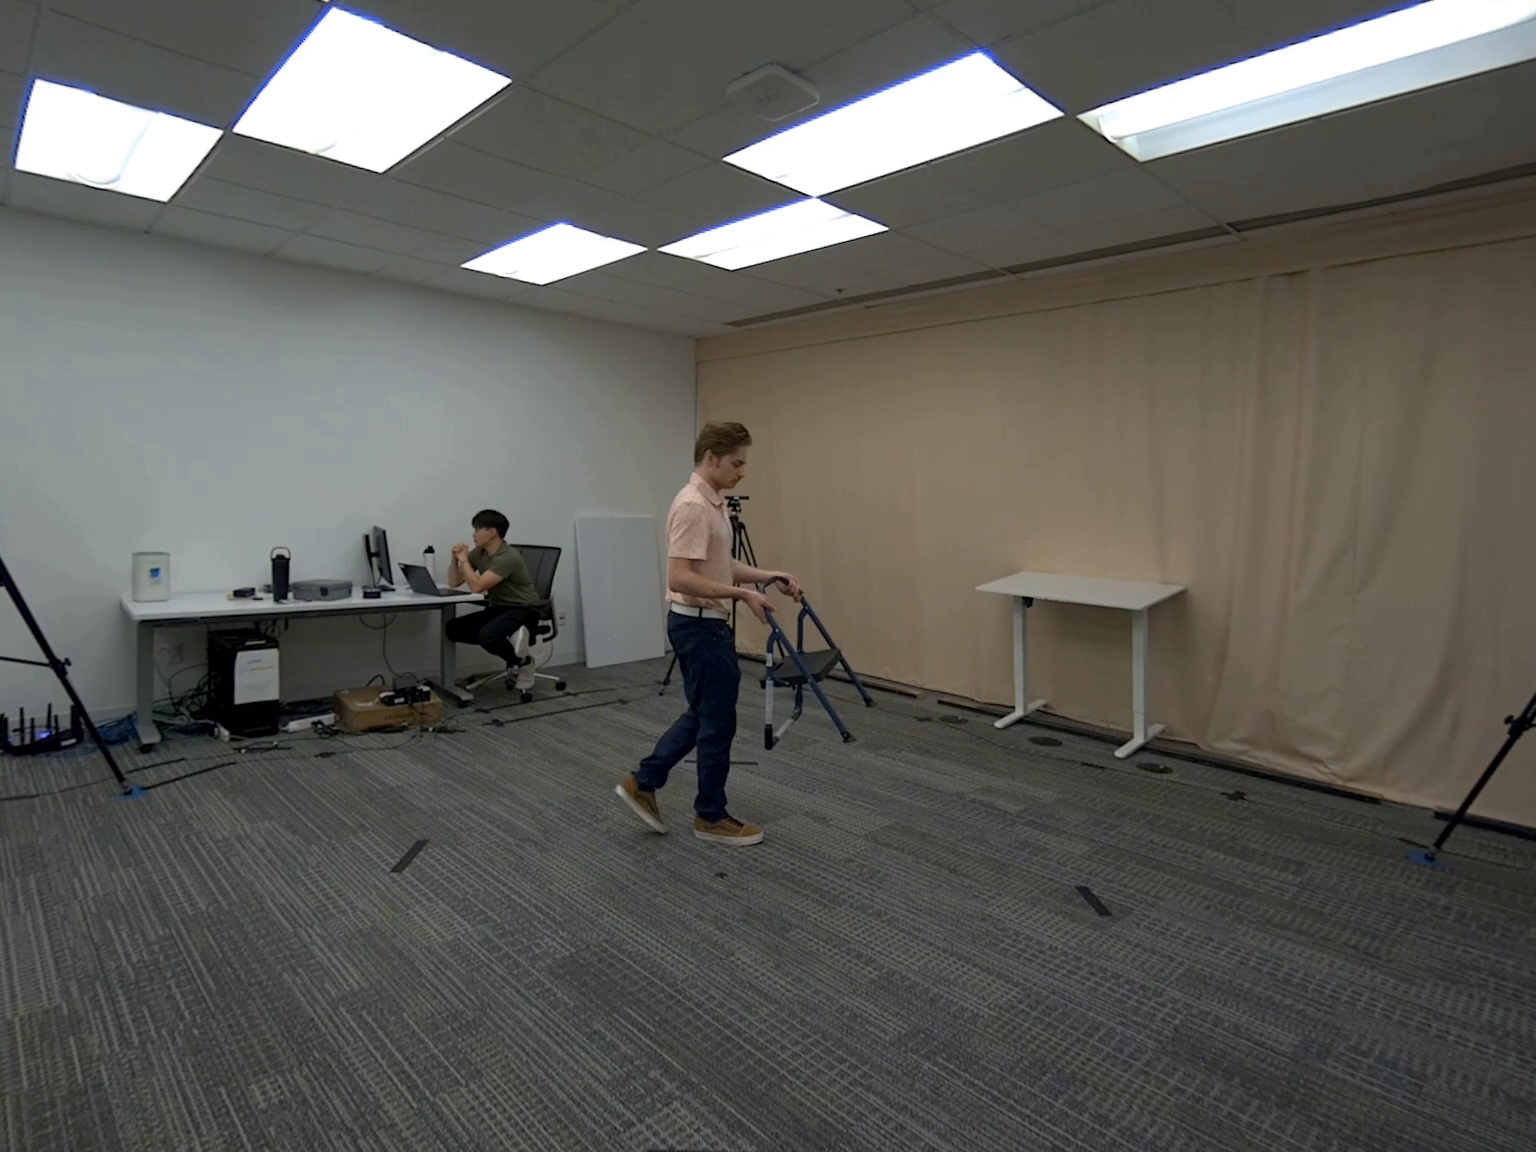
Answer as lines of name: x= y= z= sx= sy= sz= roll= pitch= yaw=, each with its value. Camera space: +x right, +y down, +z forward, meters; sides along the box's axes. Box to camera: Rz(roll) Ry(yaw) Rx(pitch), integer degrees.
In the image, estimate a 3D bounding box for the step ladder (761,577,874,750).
step ladder: x=0.126 y=0.298 z=3.248 sx=0.353 sy=0.604 sz=0.427 roll=-13 pitch=4 yaw=20
